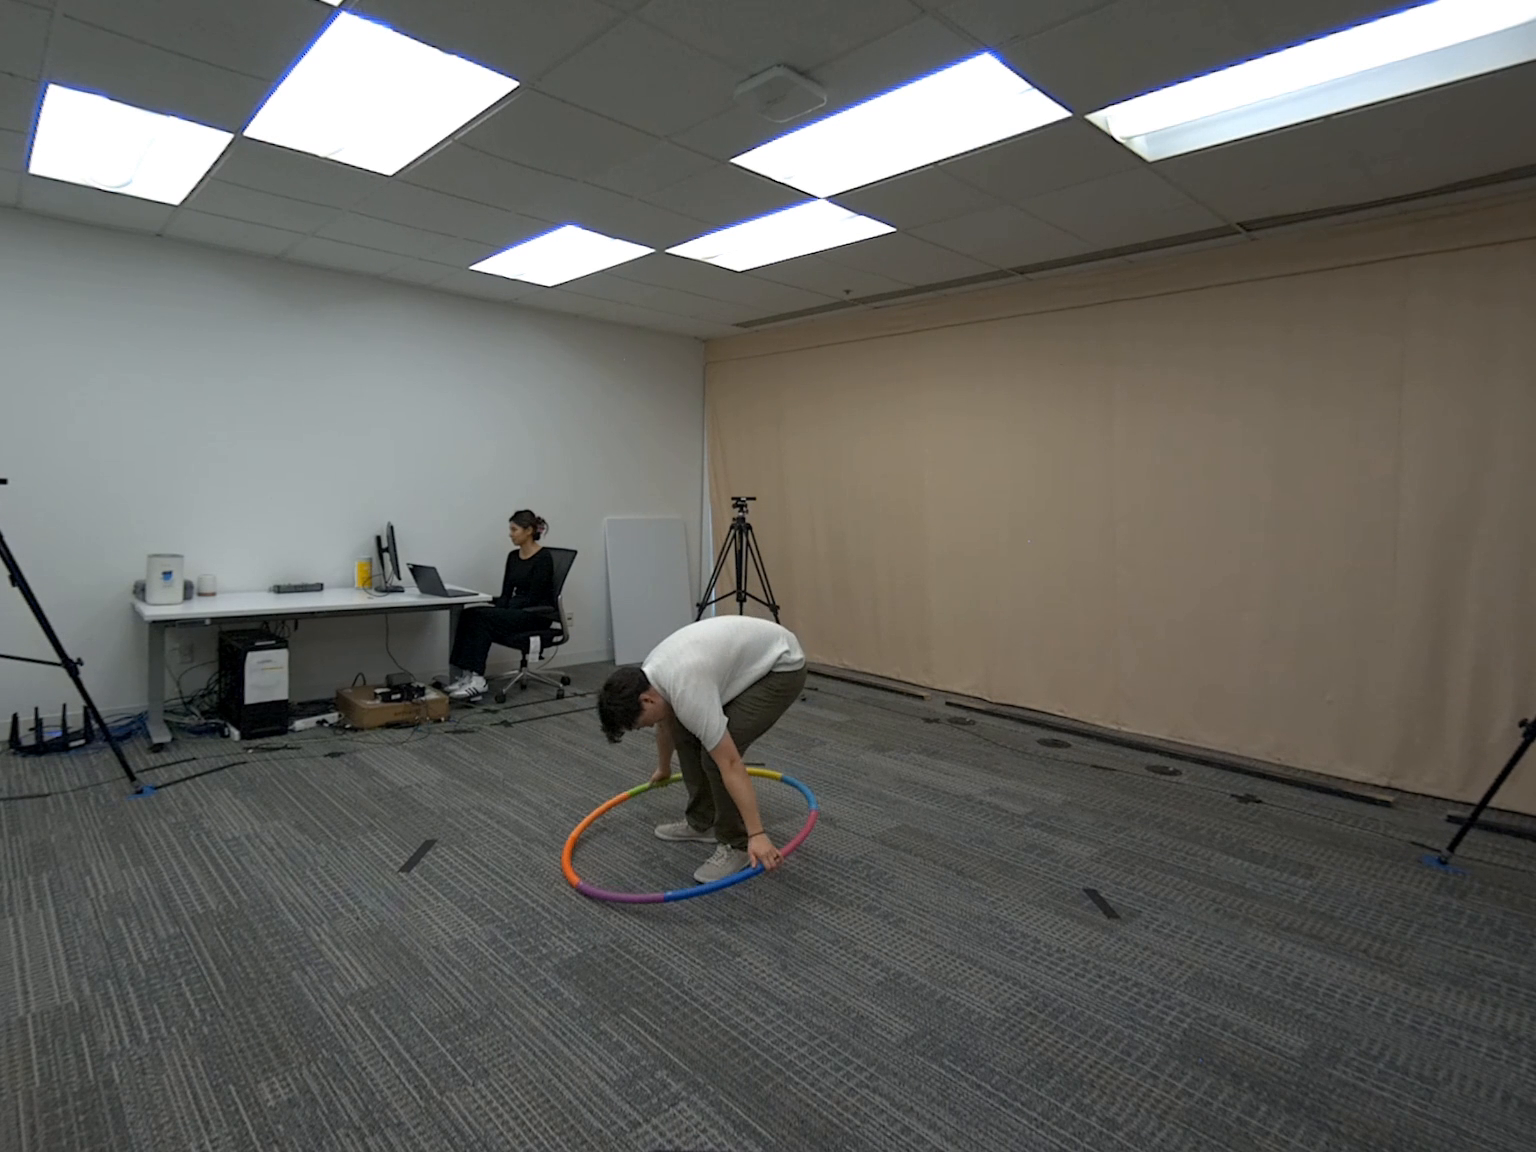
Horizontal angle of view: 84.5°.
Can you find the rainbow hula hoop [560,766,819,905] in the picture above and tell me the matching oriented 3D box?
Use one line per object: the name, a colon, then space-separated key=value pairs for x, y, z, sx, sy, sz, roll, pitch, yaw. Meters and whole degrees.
rainbow hula hoop: x=-0.311 y=0.960 z=3.232 sx=0.979 sy=0.035 sz=0.986 roll=-10 pitch=11 yaw=0
